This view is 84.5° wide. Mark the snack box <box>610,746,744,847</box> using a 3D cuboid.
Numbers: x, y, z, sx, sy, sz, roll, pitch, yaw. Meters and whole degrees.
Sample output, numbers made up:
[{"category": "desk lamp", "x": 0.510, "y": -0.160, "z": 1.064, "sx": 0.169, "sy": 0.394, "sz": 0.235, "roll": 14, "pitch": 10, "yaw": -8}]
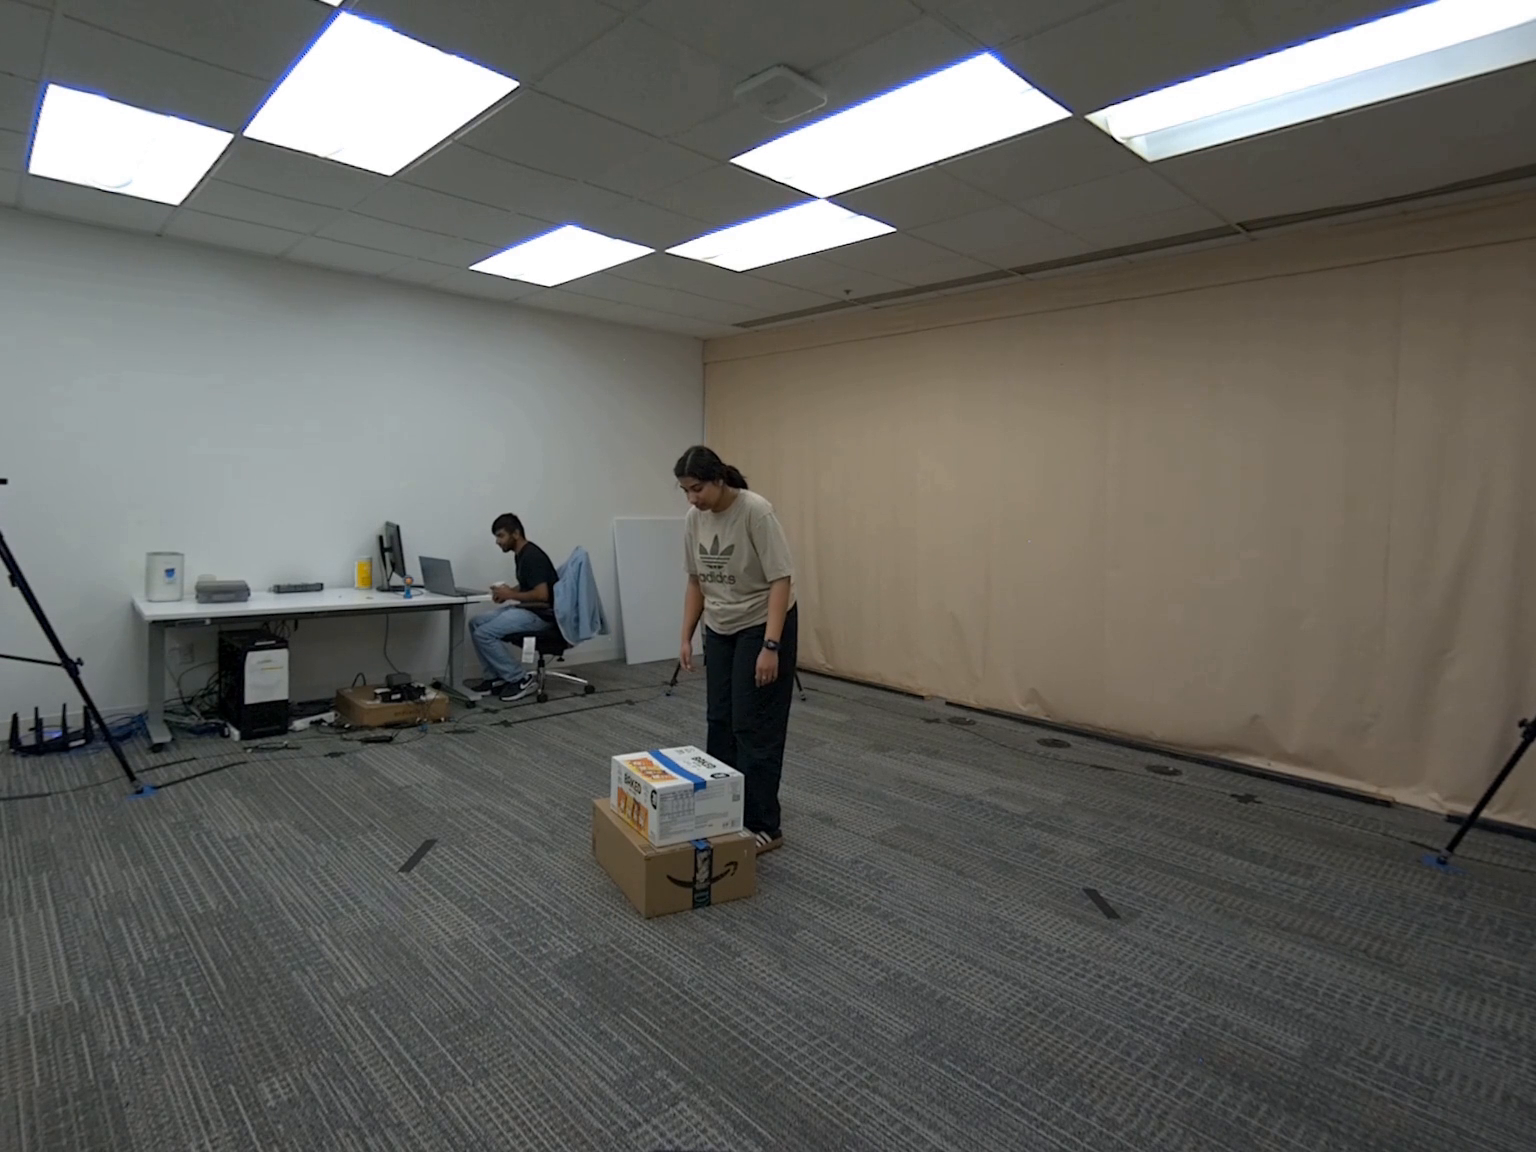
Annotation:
[{"category": "snack box", "x": -0.340, "y": 0.793, "z": 3.060, "sx": 0.333, "sy": 0.205, "sz": 0.414, "roll": -1, "pitch": 5, "yaw": -31}]
